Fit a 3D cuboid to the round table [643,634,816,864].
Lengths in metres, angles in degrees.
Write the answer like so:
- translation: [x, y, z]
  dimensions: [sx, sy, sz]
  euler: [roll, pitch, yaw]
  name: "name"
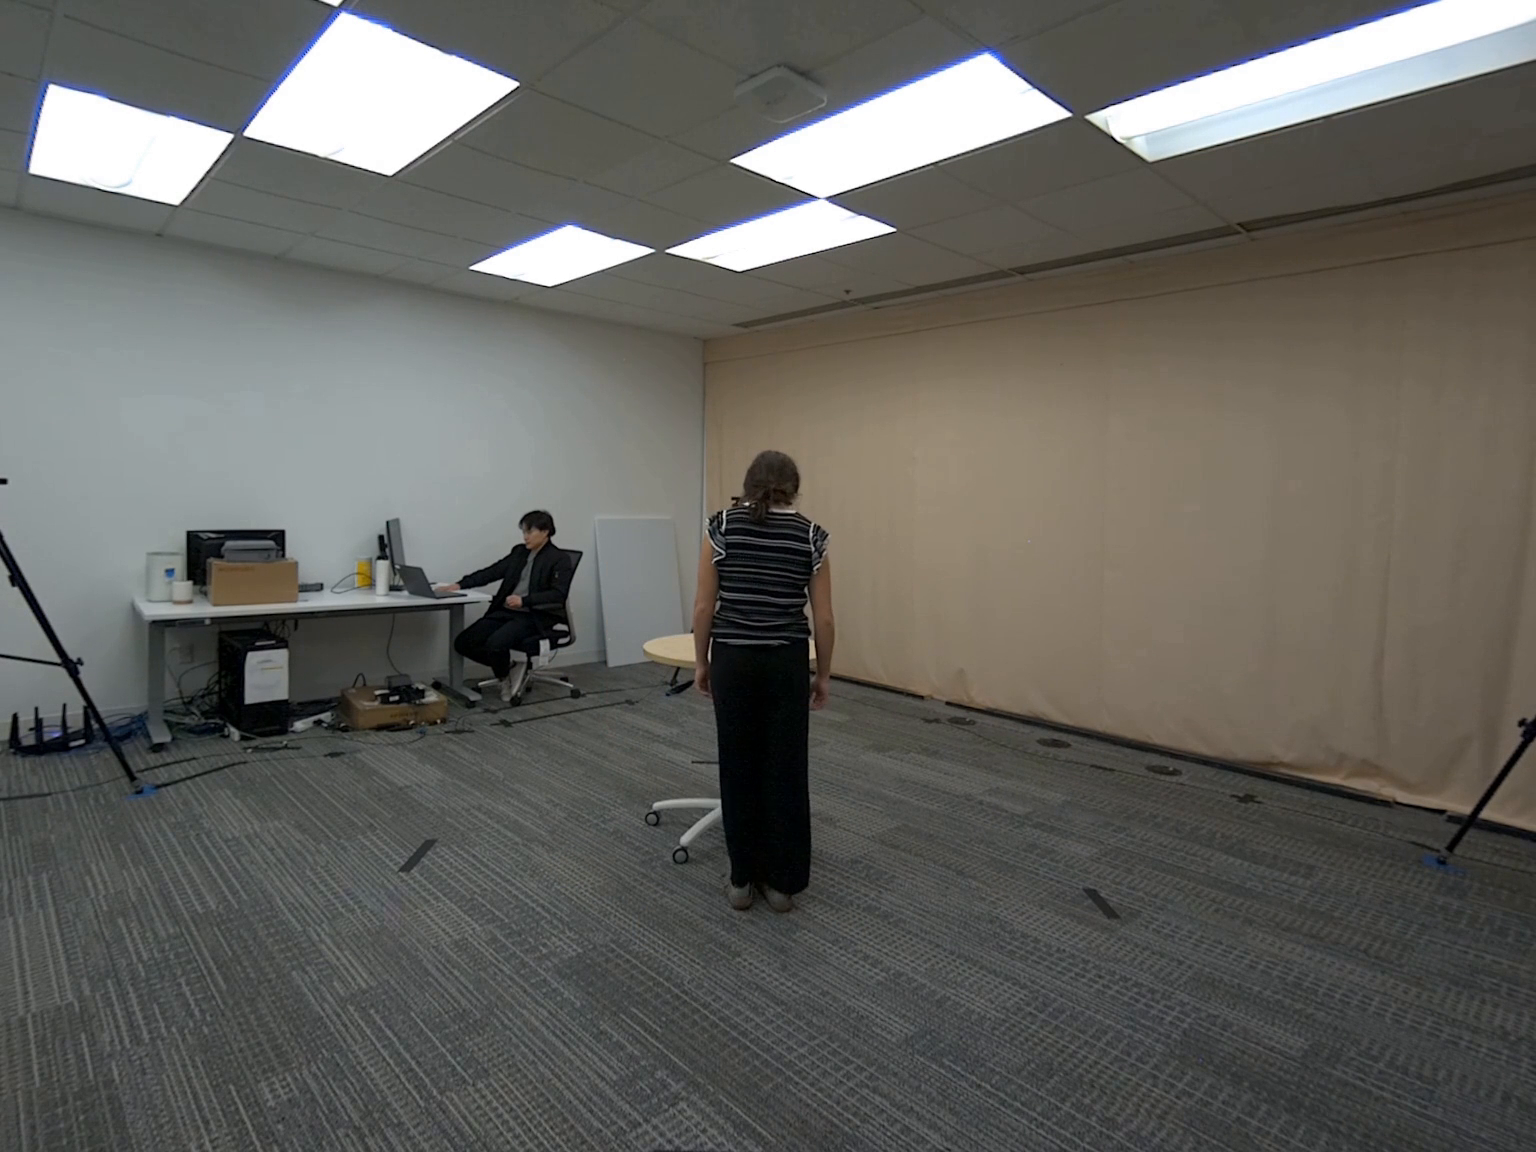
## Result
- translation: [-0.129, 0.684, 3.474]
  dimensions: [0.784, 0.784, 0.788]
  euler: [1, 4, -1]
  name: "round table"
